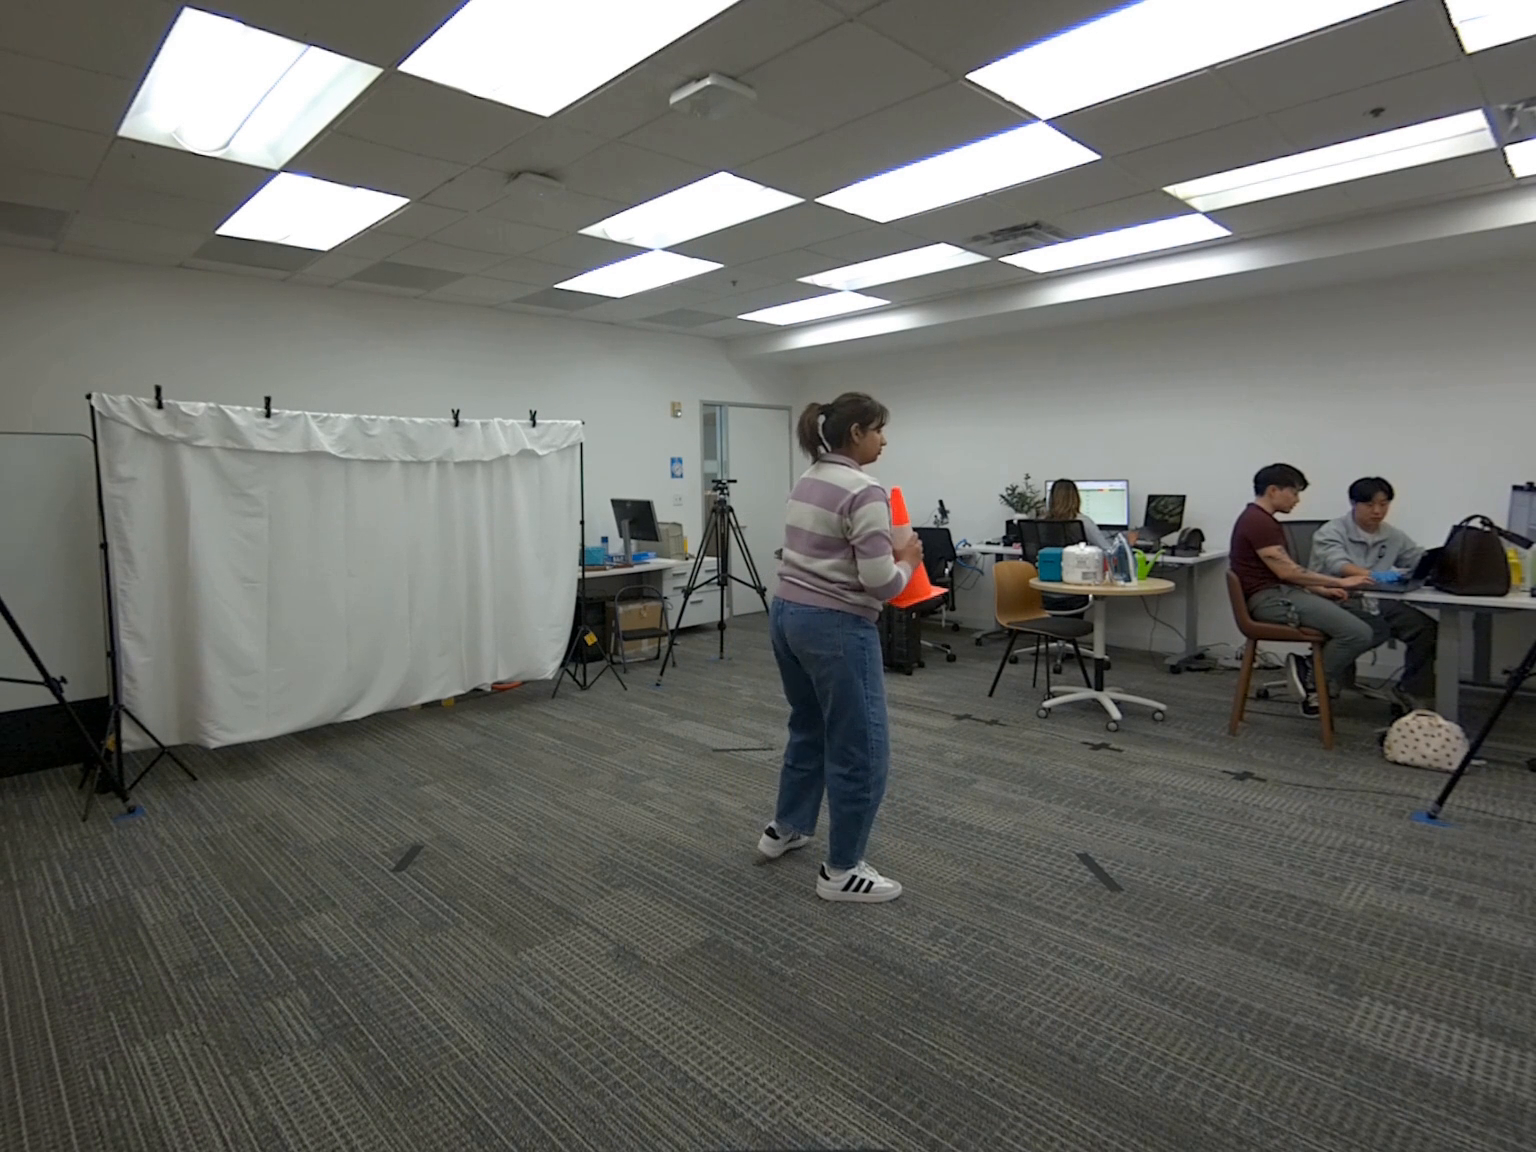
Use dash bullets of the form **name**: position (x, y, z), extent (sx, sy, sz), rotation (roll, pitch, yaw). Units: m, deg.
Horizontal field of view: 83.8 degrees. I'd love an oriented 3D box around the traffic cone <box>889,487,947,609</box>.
- **traffic cone**: position (0.454, -0.116, 2.934), extent (0.201, 0.379, 0.210), rotation (-13, 12, -16)
